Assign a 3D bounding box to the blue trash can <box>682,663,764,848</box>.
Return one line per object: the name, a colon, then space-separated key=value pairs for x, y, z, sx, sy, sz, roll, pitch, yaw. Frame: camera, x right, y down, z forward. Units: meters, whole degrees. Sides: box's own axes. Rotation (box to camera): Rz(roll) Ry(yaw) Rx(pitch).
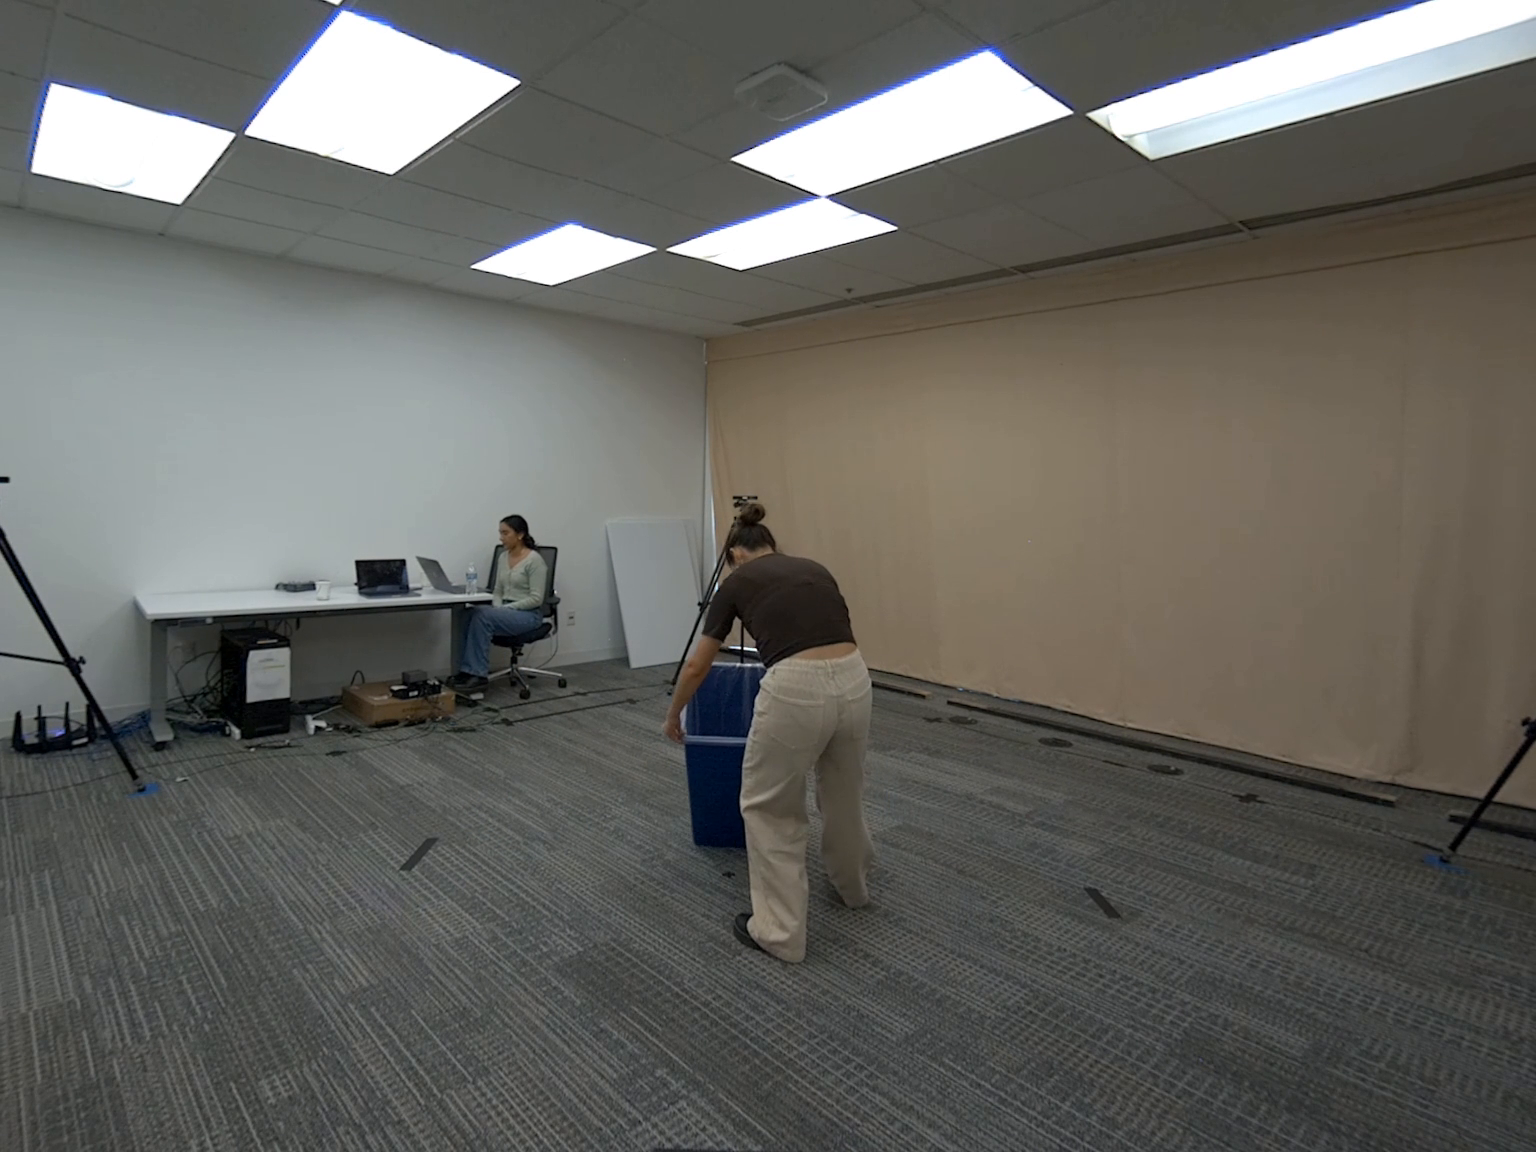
blue trash can: x=-0.141 y=0.720 z=3.243 sx=0.378 sy=0.698 sz=0.382 roll=0 pitch=39 yaw=-2
